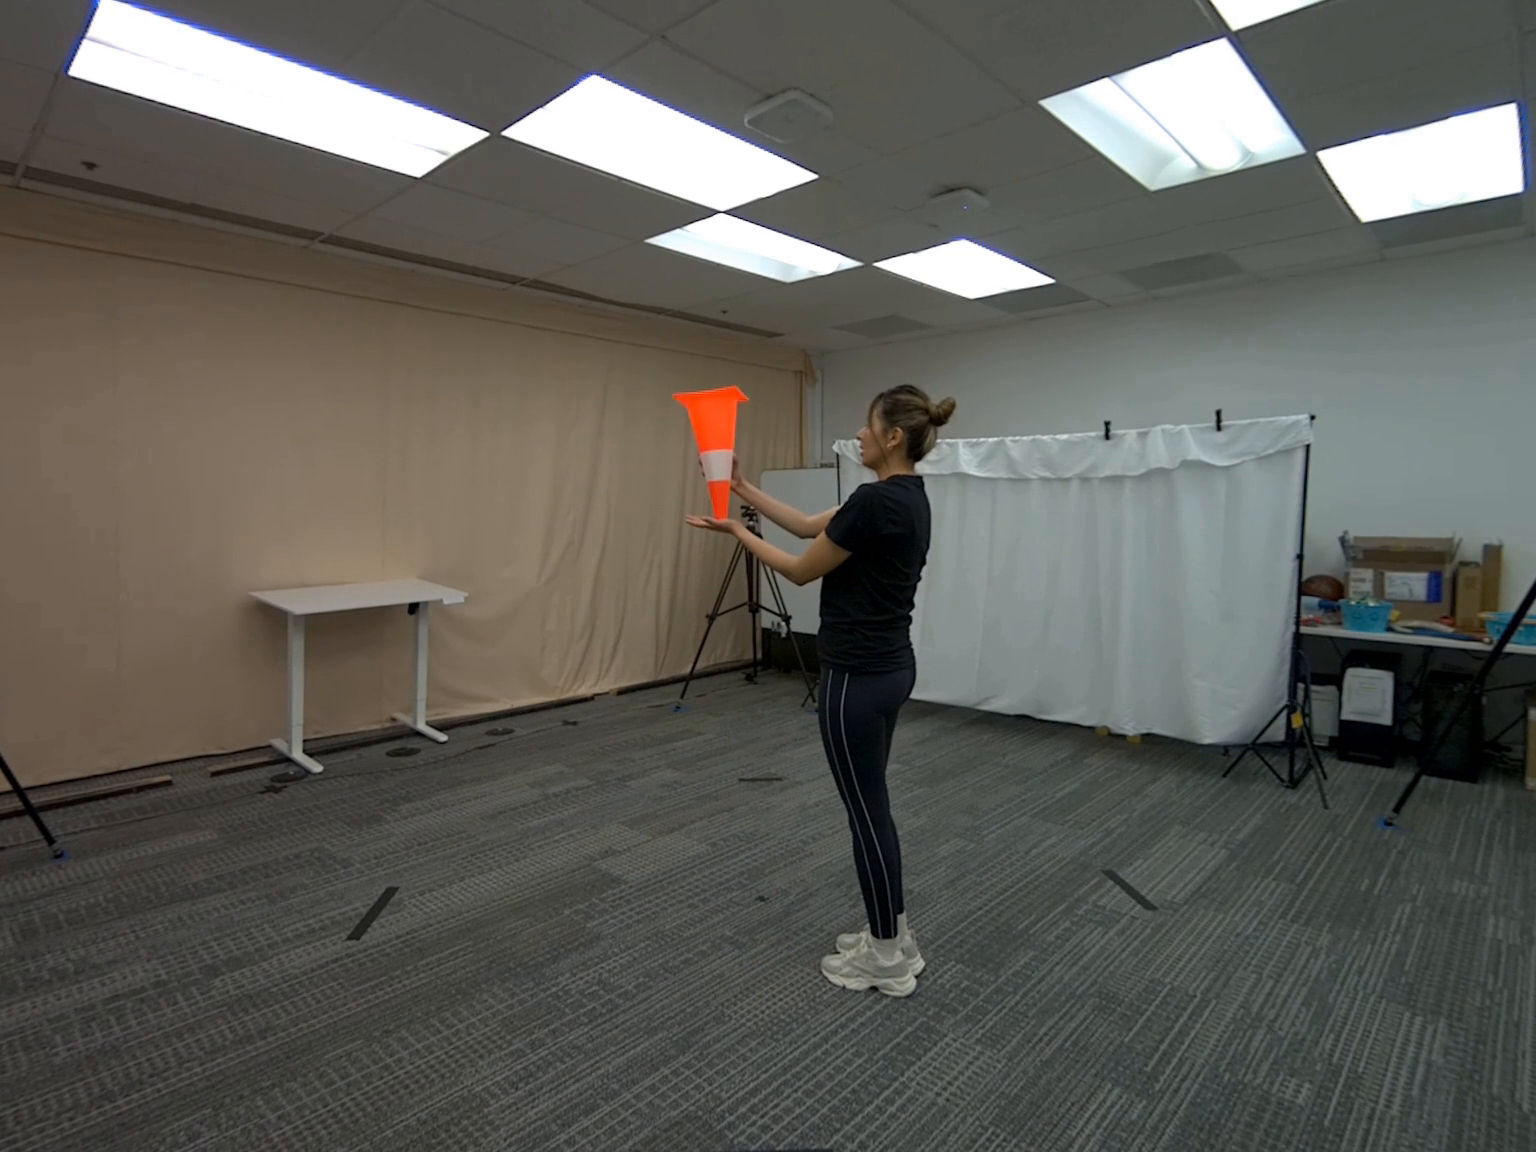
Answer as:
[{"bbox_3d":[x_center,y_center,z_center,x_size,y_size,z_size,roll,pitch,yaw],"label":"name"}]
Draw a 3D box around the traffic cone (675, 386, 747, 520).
[{"bbox_3d":[-0.154,-0.349,2.535,0.206,0.384,0.202,-4,-2,13],"label":"traffic cone"}]
